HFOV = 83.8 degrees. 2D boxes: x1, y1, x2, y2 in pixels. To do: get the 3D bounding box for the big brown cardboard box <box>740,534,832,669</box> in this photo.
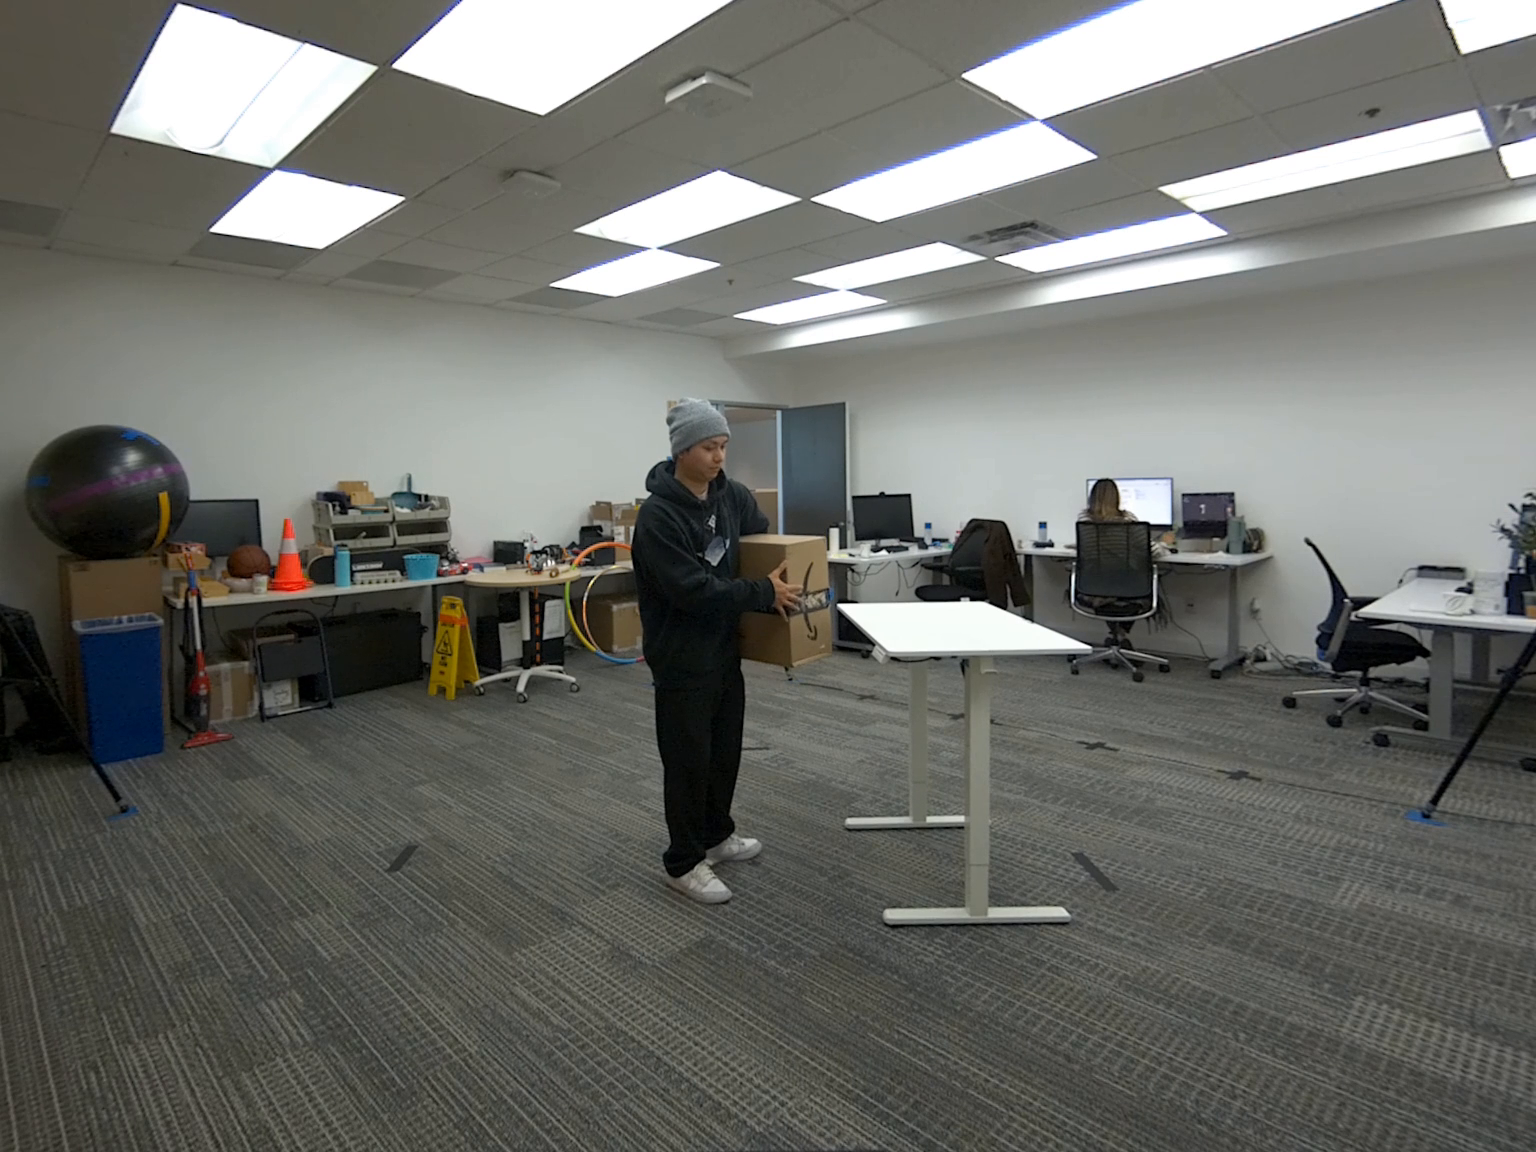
[{"bbox_3d":[-0.061,0.069,3.068,0.607,0.415,0.227,4,10,43],"label":"big brown cardboard box"}]
